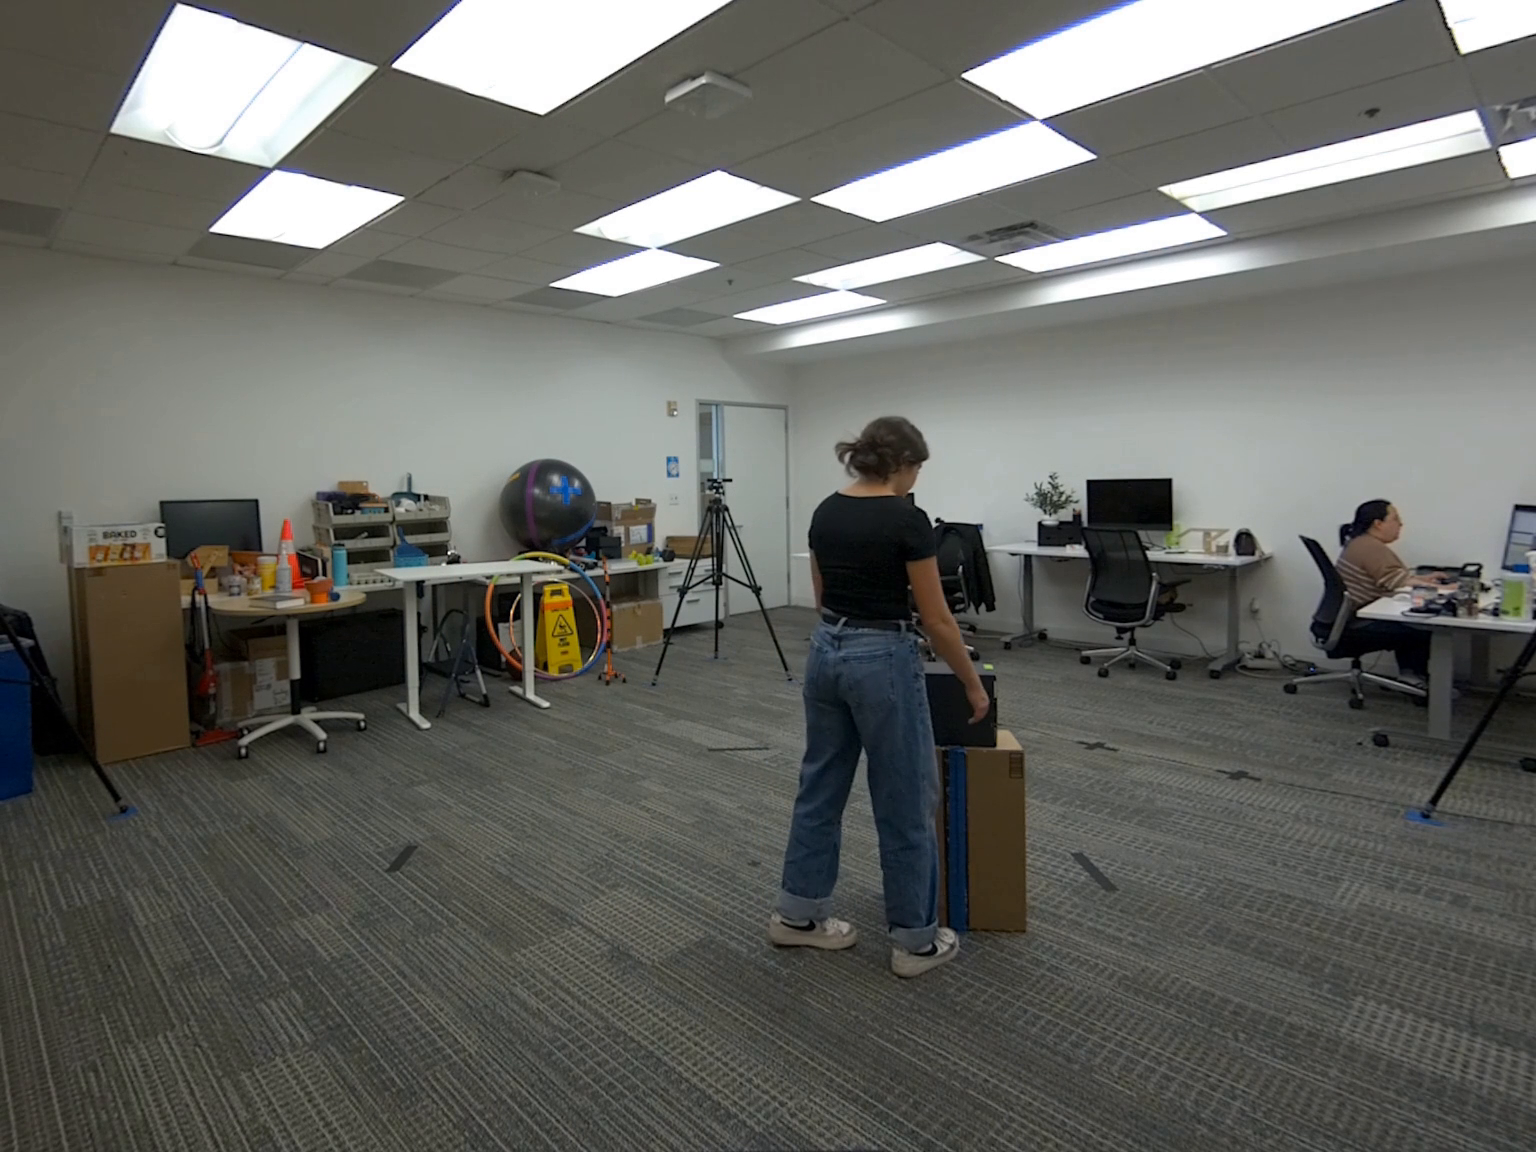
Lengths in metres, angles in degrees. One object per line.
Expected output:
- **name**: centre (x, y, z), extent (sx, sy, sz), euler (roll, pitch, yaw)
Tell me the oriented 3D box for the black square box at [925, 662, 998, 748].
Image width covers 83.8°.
- **black square box**: centre (0.601, 0.396, 2.695), extent (0.219, 0.227, 0.155), euler (-1, 5, 10)
